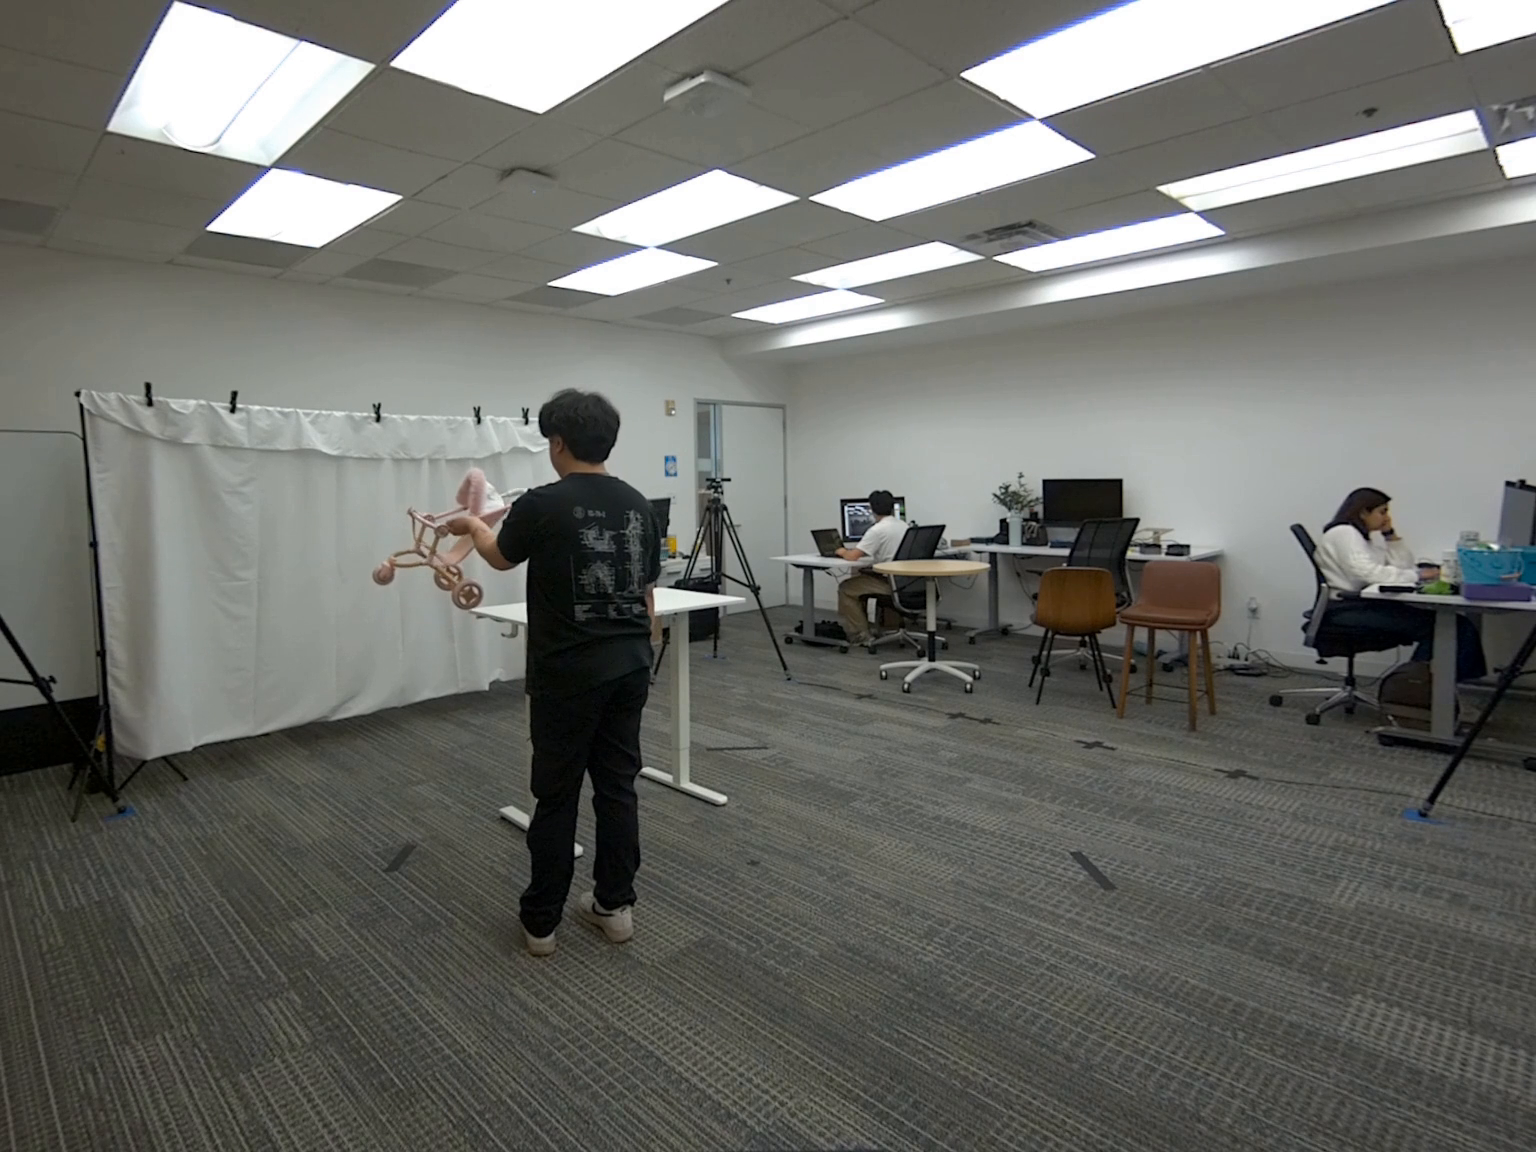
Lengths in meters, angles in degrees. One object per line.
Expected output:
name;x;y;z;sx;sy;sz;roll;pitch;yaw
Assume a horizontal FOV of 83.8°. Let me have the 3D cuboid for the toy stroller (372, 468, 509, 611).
toy stroller;-1.091;-0.148;2.976;0.330;0.536;0.290;33;-6;-30
